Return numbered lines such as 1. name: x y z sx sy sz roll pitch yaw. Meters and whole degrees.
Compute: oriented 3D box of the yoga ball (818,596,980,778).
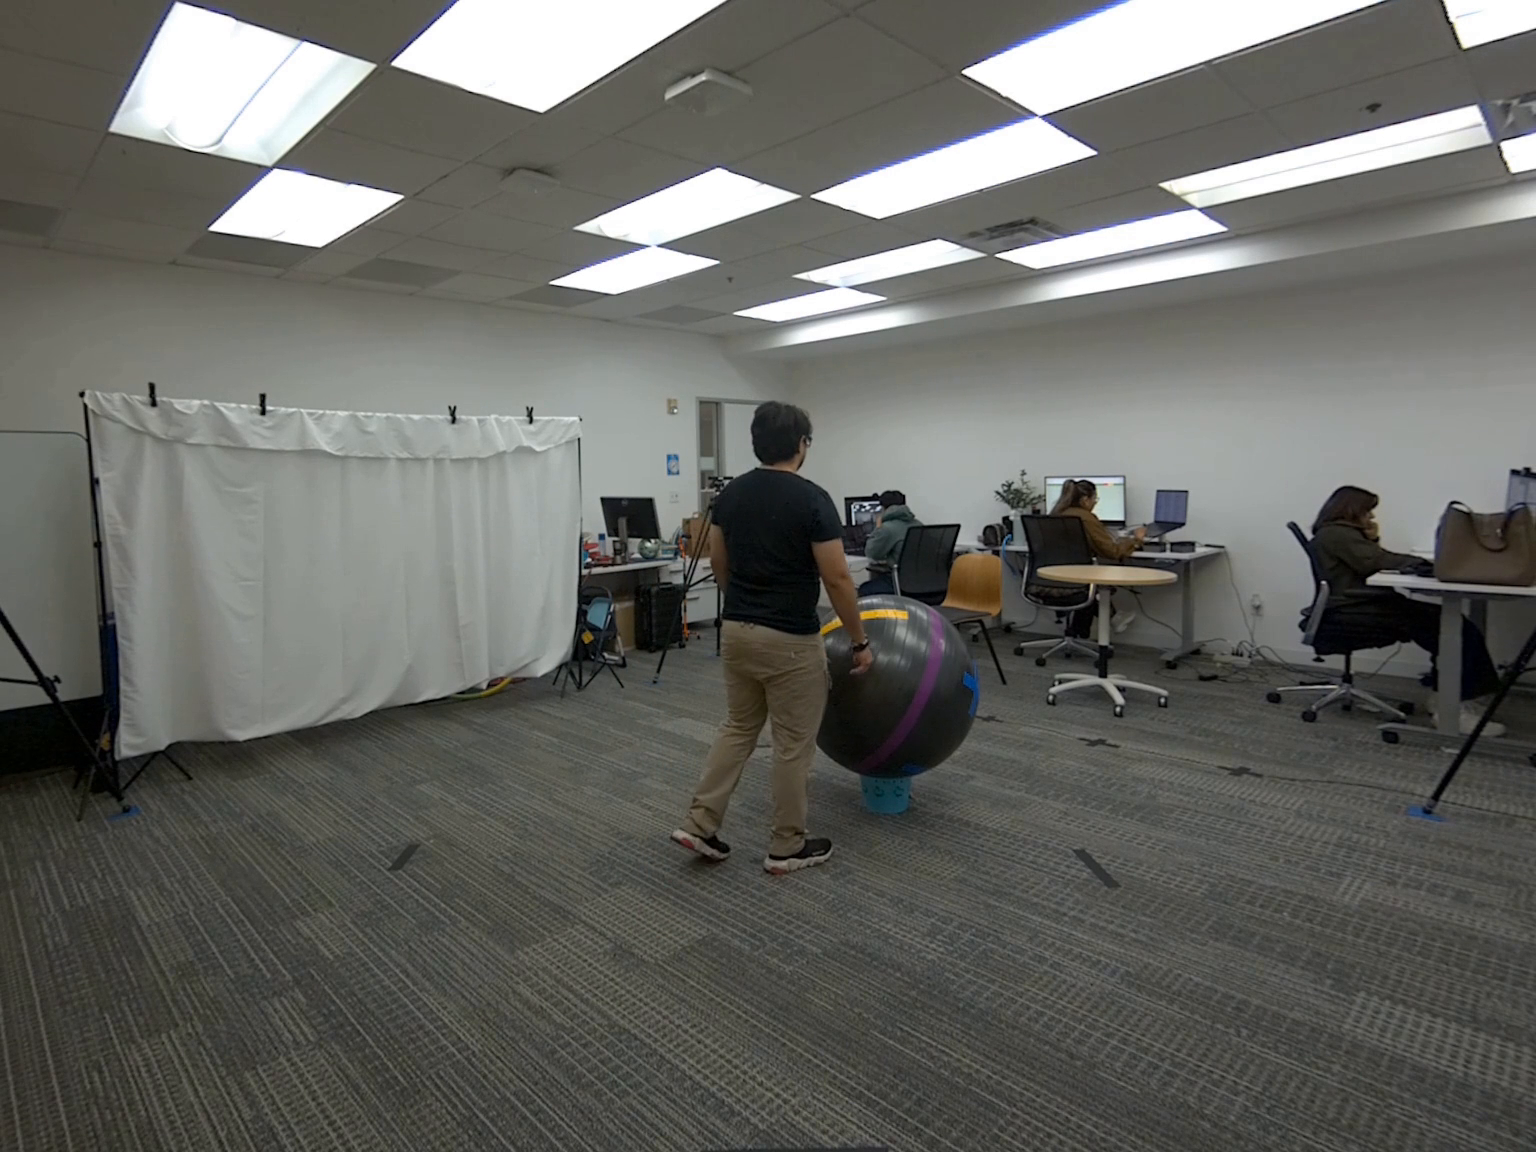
1. yoga ball: 0.492 0.462 3.585 0.757 0.755 0.762 -1 5 -2
